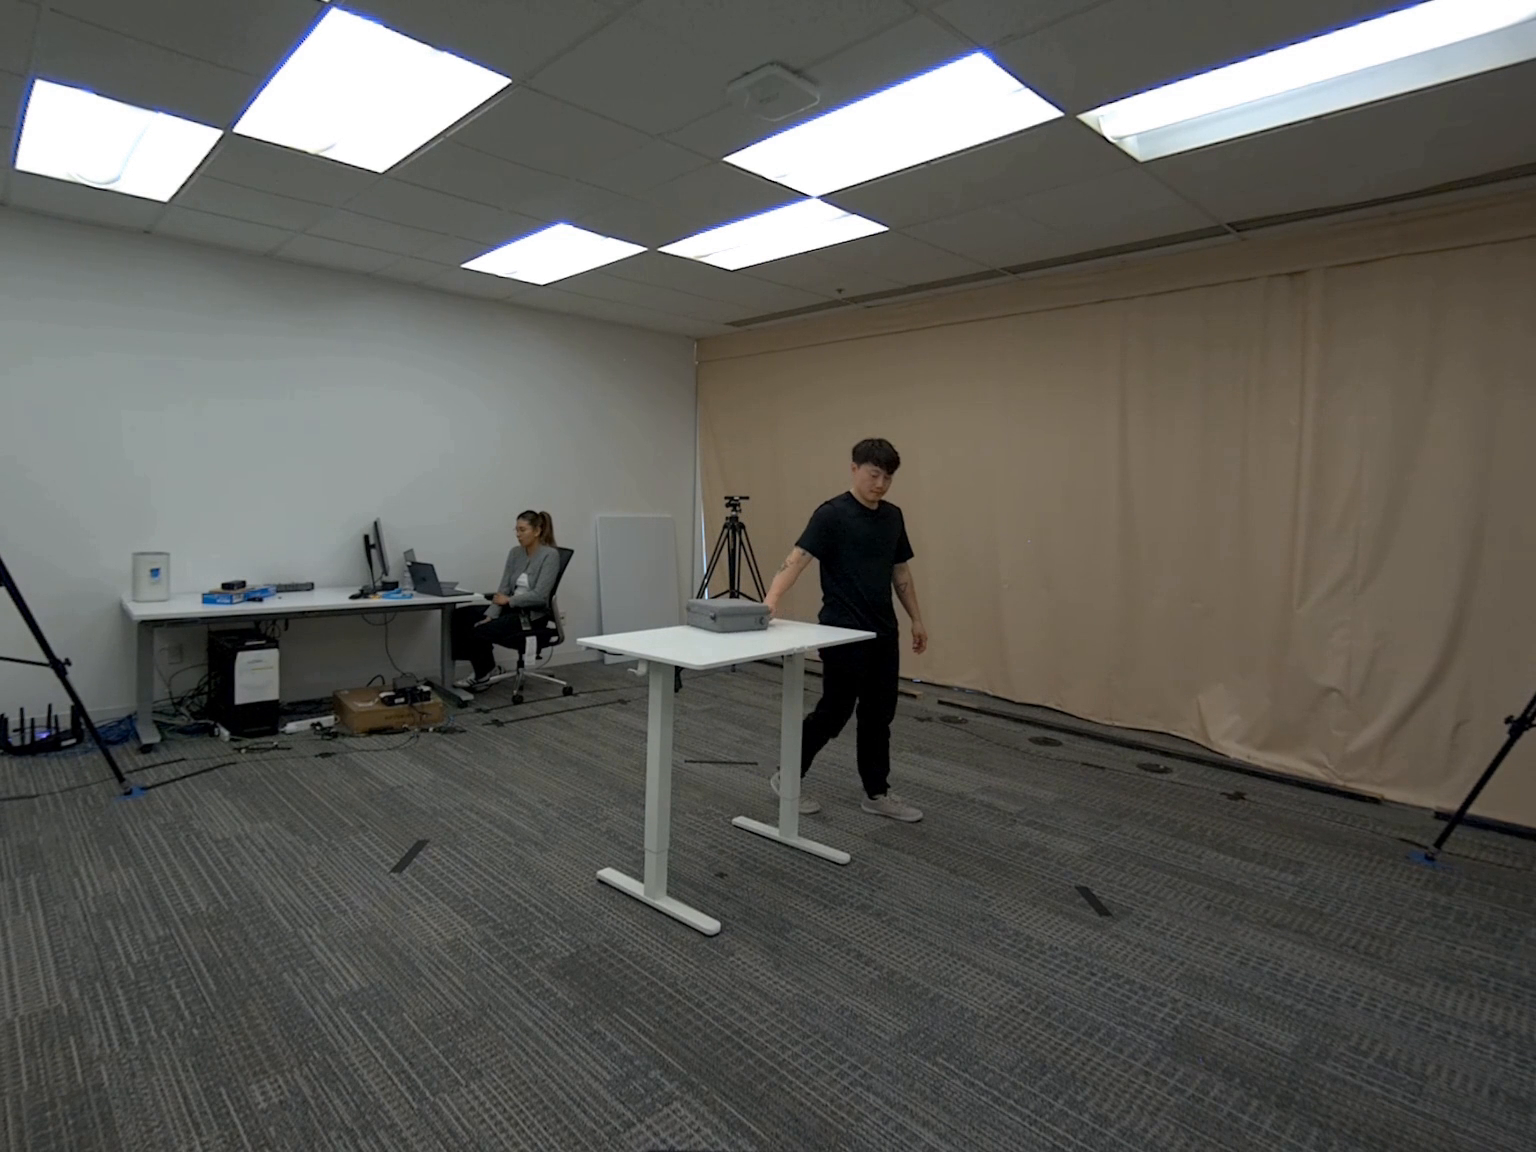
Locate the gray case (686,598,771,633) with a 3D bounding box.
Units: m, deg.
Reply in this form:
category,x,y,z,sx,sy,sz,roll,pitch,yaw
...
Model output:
category,x,y,z,sx,sy,sz,roll,pitch,yaw
gray case,-0.166,0.151,3.310,0.255,0.104,0.263,0,4,-37
